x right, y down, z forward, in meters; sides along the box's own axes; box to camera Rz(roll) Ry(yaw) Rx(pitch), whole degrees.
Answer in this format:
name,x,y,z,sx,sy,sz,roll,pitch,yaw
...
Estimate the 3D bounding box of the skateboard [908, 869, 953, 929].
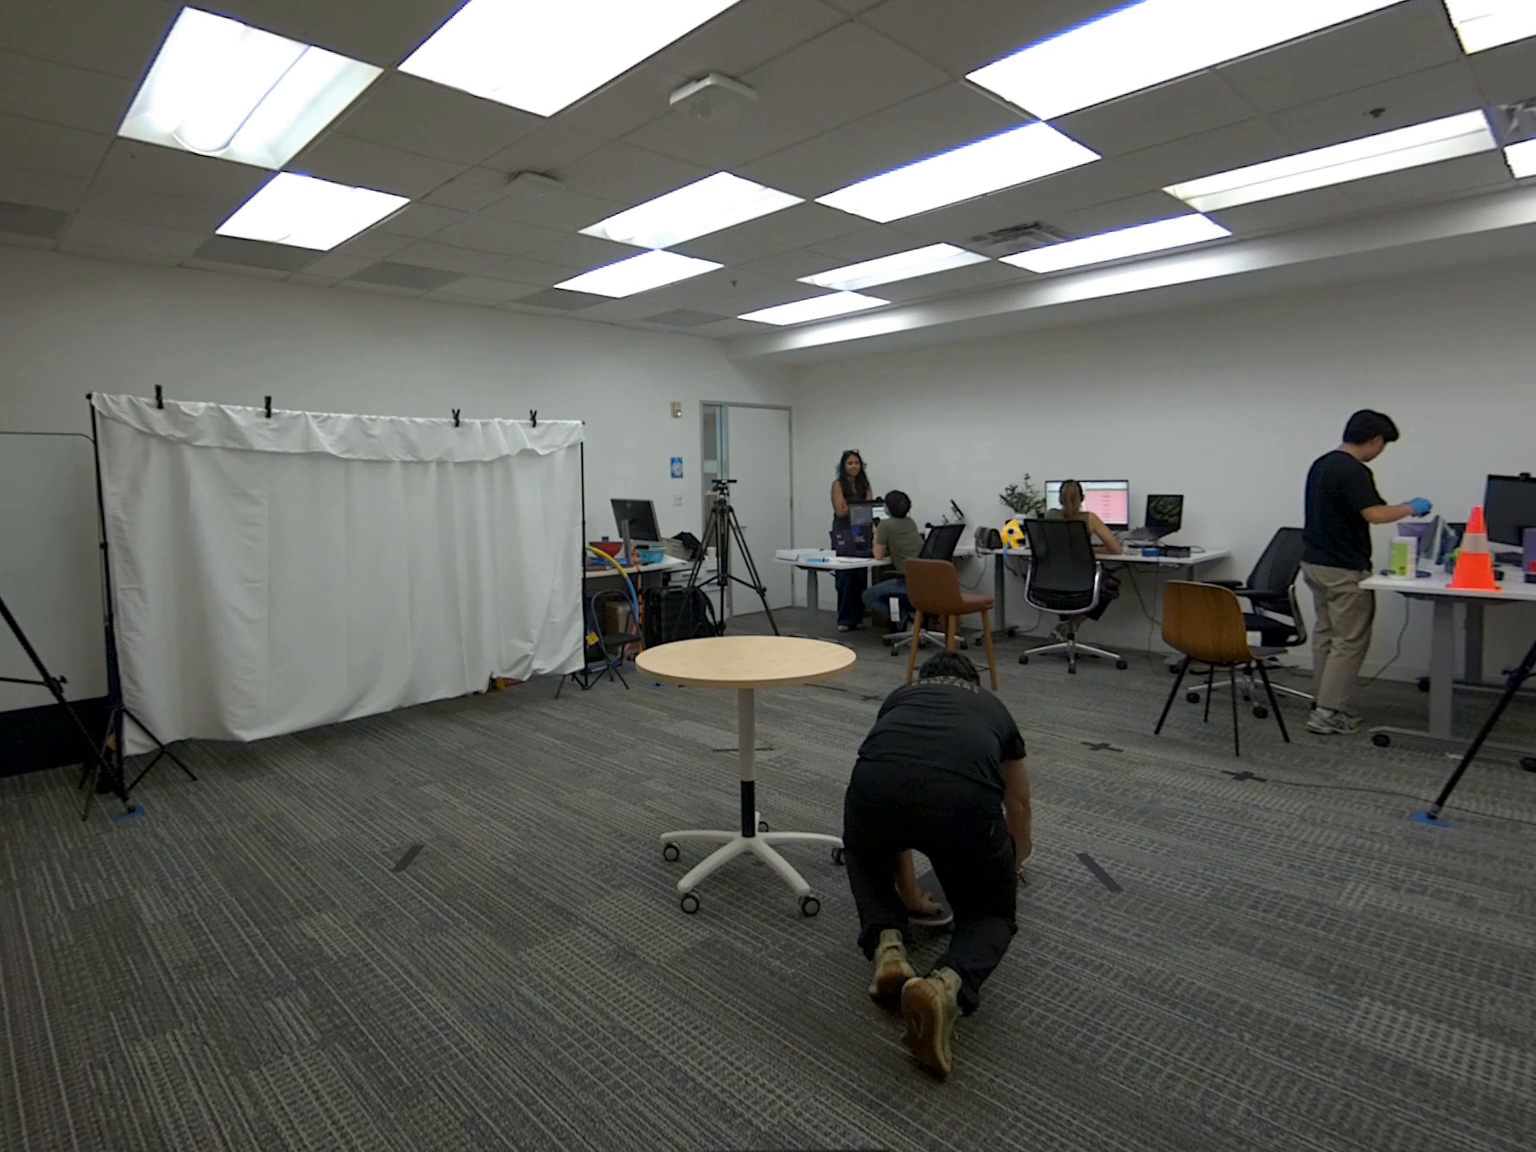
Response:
name,x,y,z,sx,sy,sz,roll,pitch,yaw
skateboard,0.653,1.014,2.814,0.200,0.109,0.766,8,12,41
